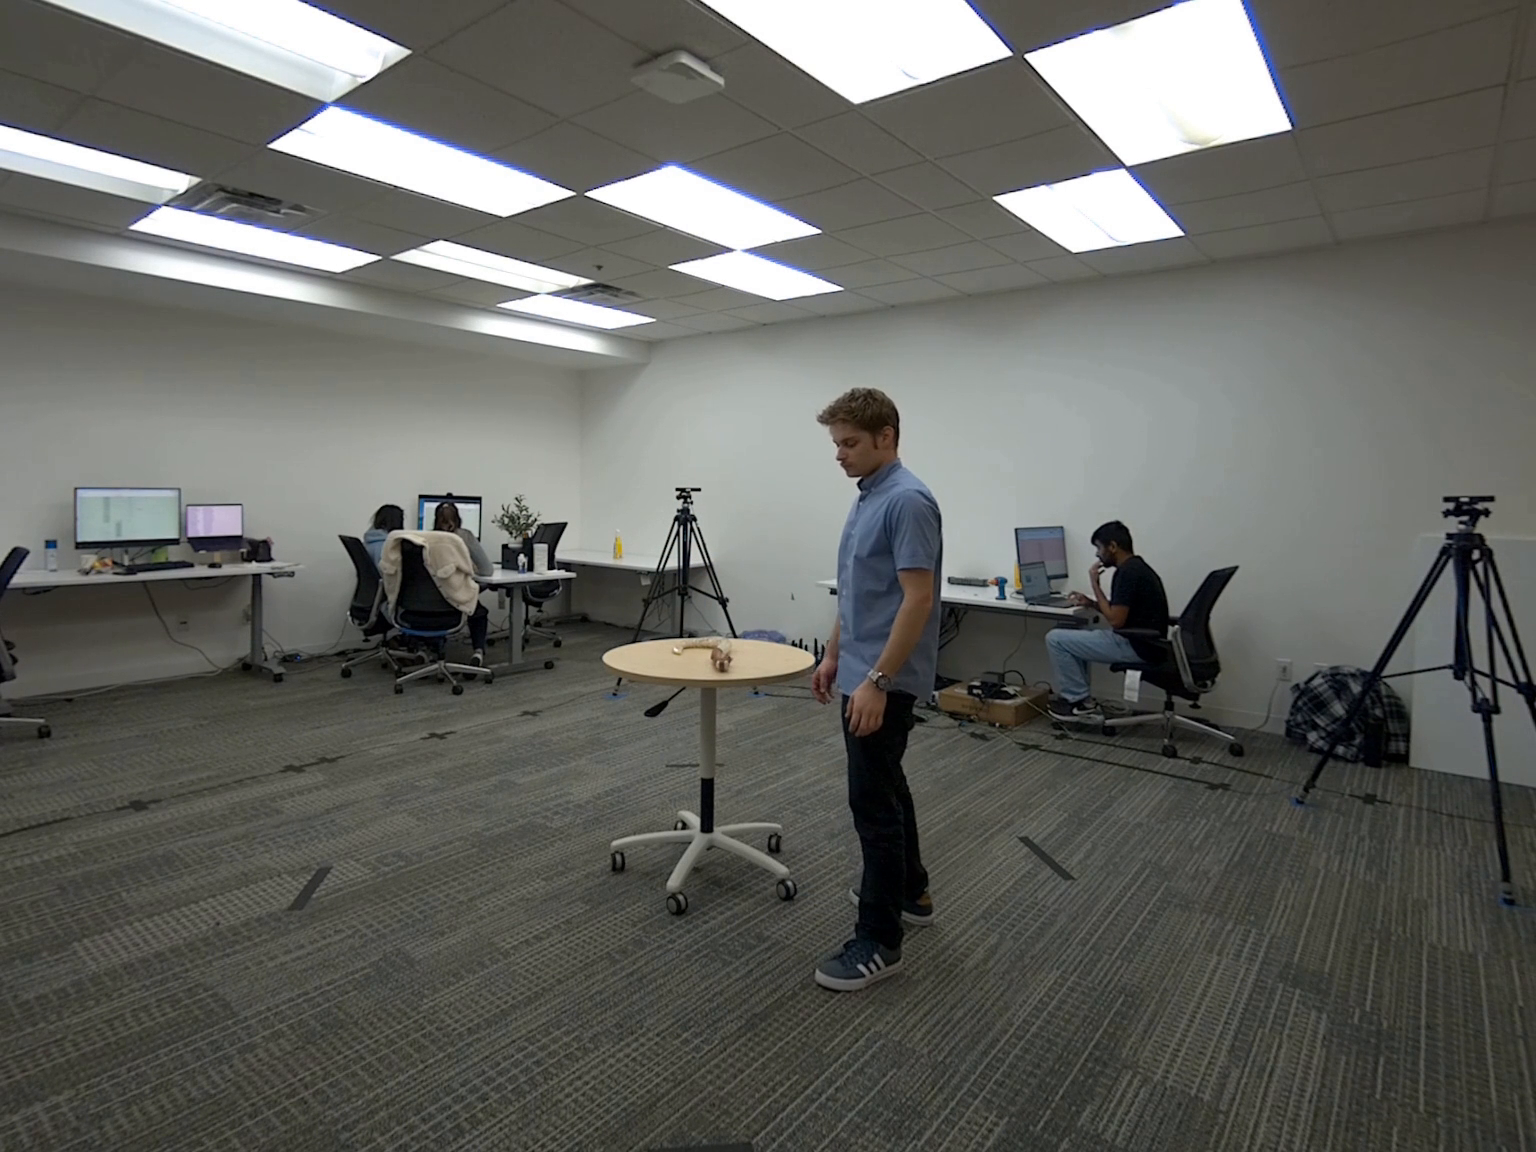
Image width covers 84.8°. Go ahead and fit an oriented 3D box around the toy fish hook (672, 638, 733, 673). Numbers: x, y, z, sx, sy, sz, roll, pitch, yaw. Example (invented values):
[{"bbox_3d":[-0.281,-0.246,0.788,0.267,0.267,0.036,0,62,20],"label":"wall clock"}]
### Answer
[{"bbox_3d":[-0.238,0.279,3.037,0.224,0.048,0.511,-7,5,-6],"label":"toy fish hook"}]
